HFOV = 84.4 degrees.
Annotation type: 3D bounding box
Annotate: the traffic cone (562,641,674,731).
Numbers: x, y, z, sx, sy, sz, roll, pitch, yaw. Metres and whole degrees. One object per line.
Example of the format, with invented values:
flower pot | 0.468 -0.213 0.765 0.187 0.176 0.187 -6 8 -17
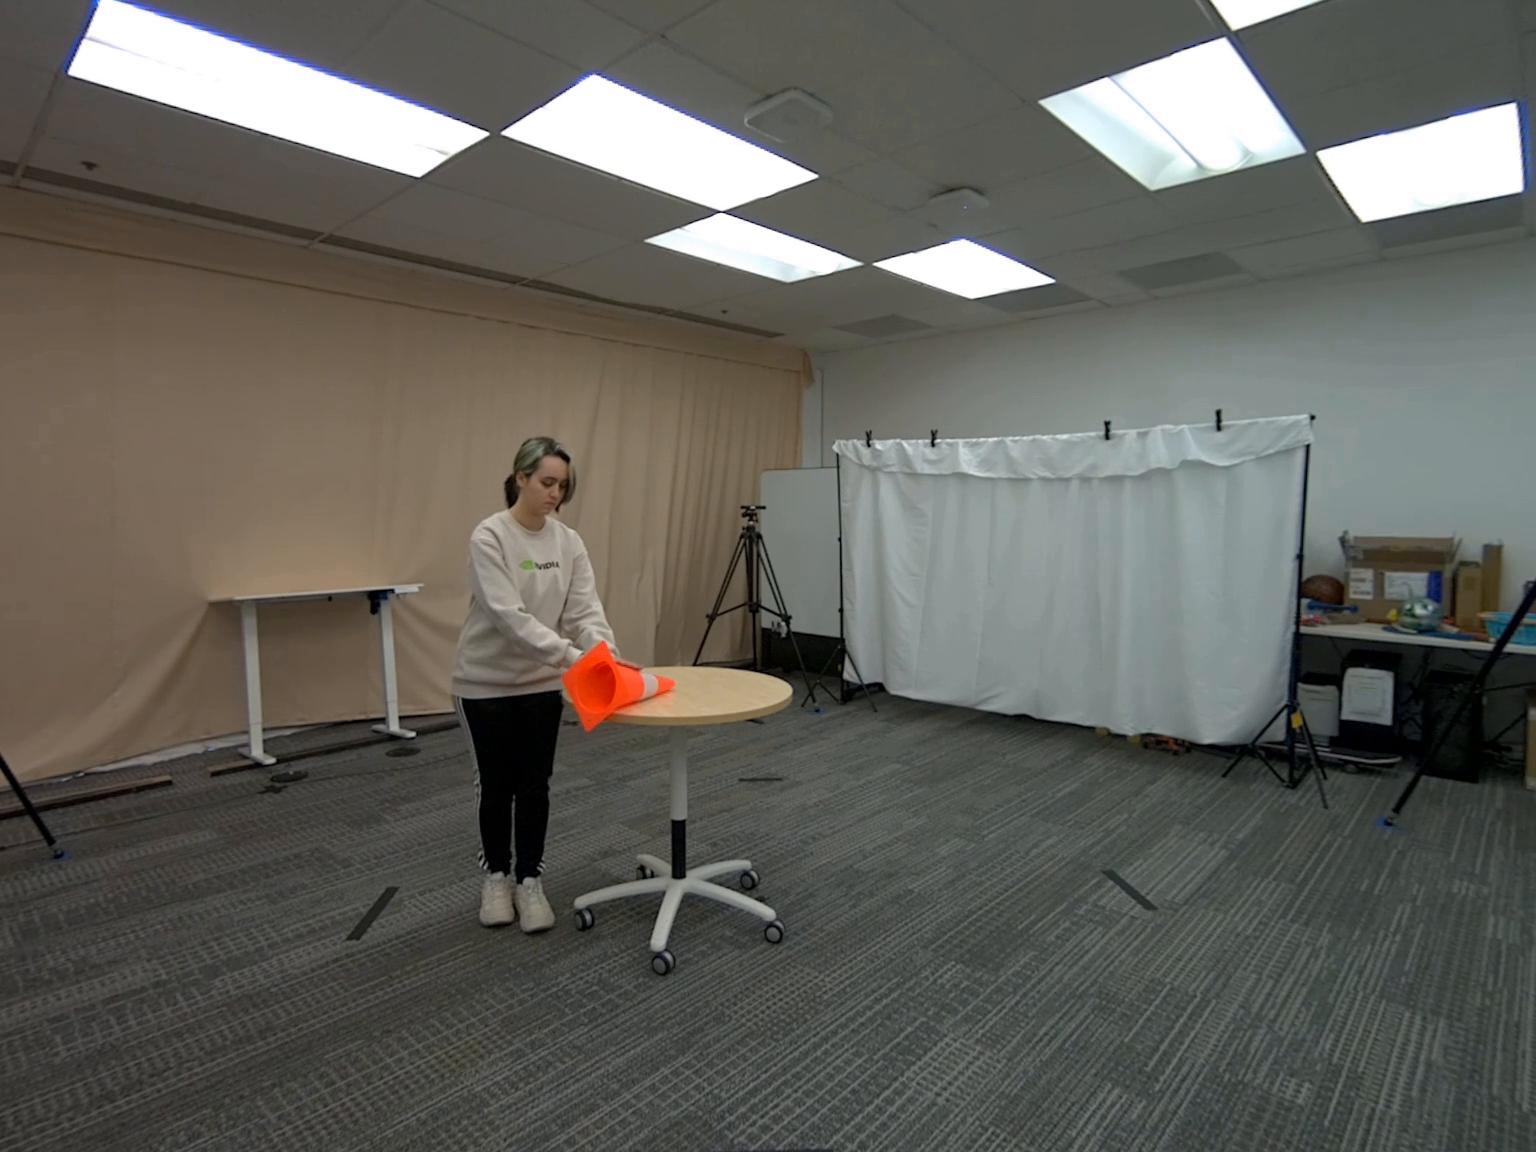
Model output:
traffic cone | -0.413 0.343 2.626 0.206 0.208 0.371 -42 -25 21
